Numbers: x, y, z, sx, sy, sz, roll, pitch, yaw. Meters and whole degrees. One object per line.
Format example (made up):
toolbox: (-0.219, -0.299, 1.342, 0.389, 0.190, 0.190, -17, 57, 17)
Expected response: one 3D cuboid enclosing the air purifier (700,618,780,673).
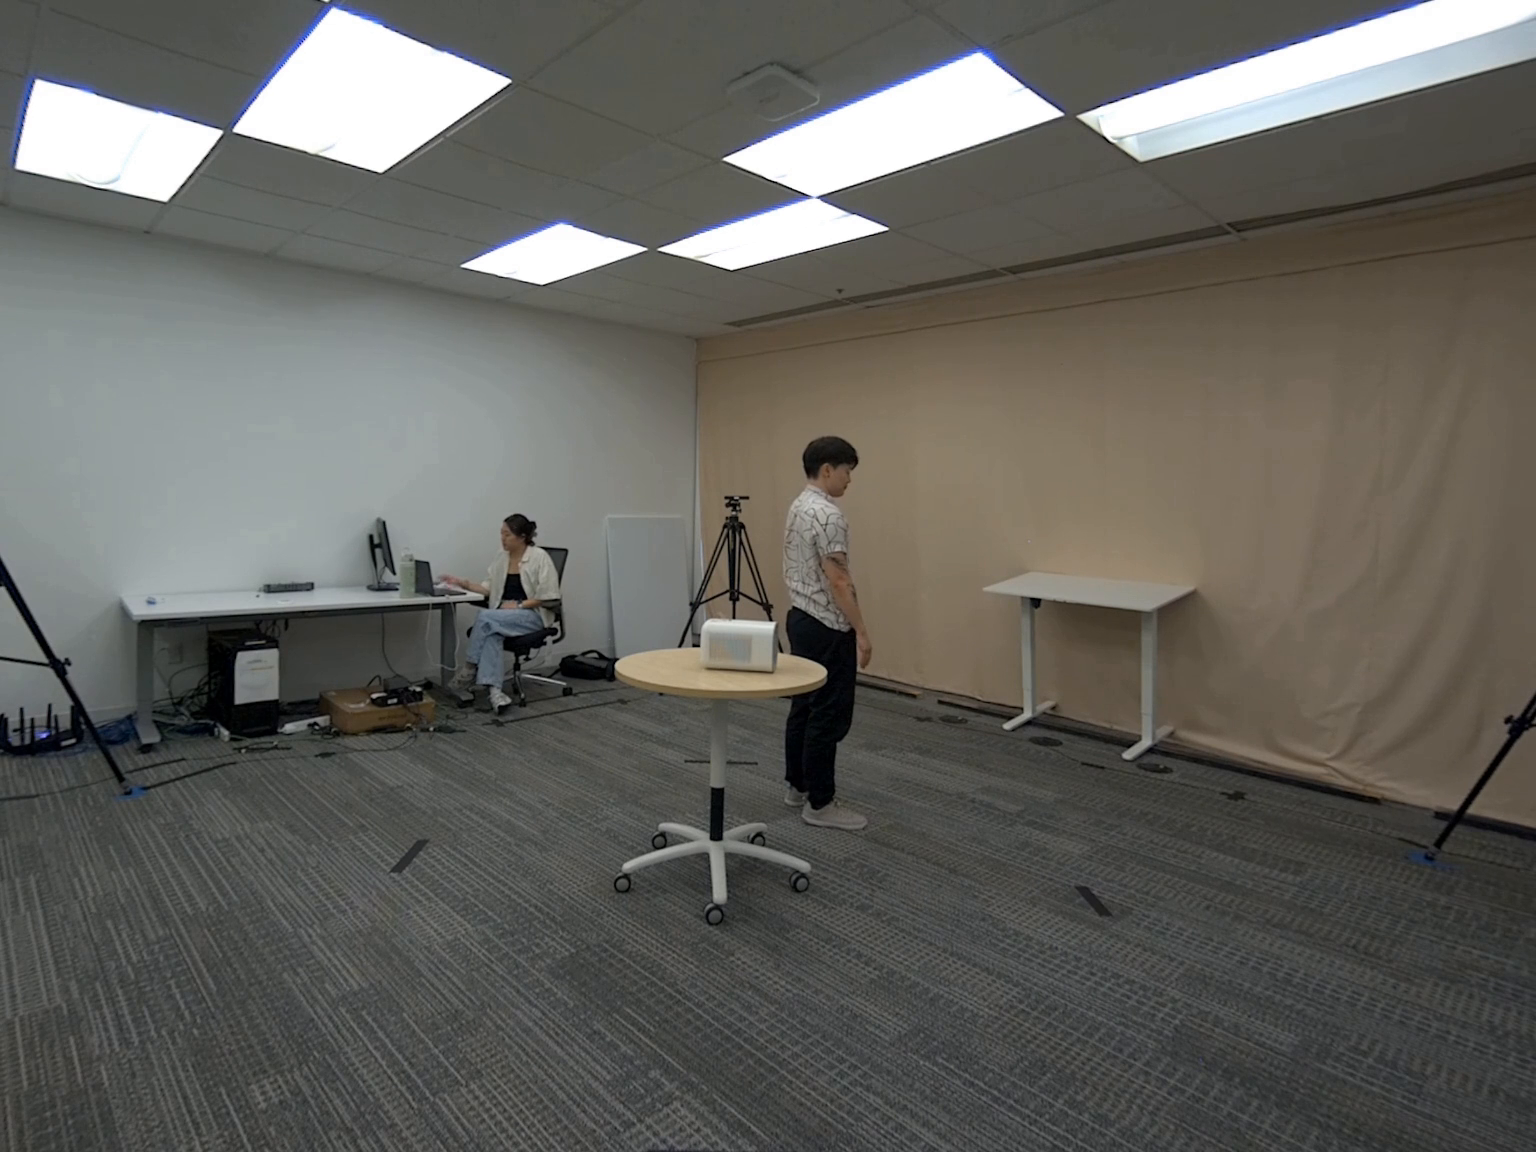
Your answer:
air purifier: (-0.110, 0.245, 3.027, 0.267, 0.171, 0.170, 2, 4, 7)
